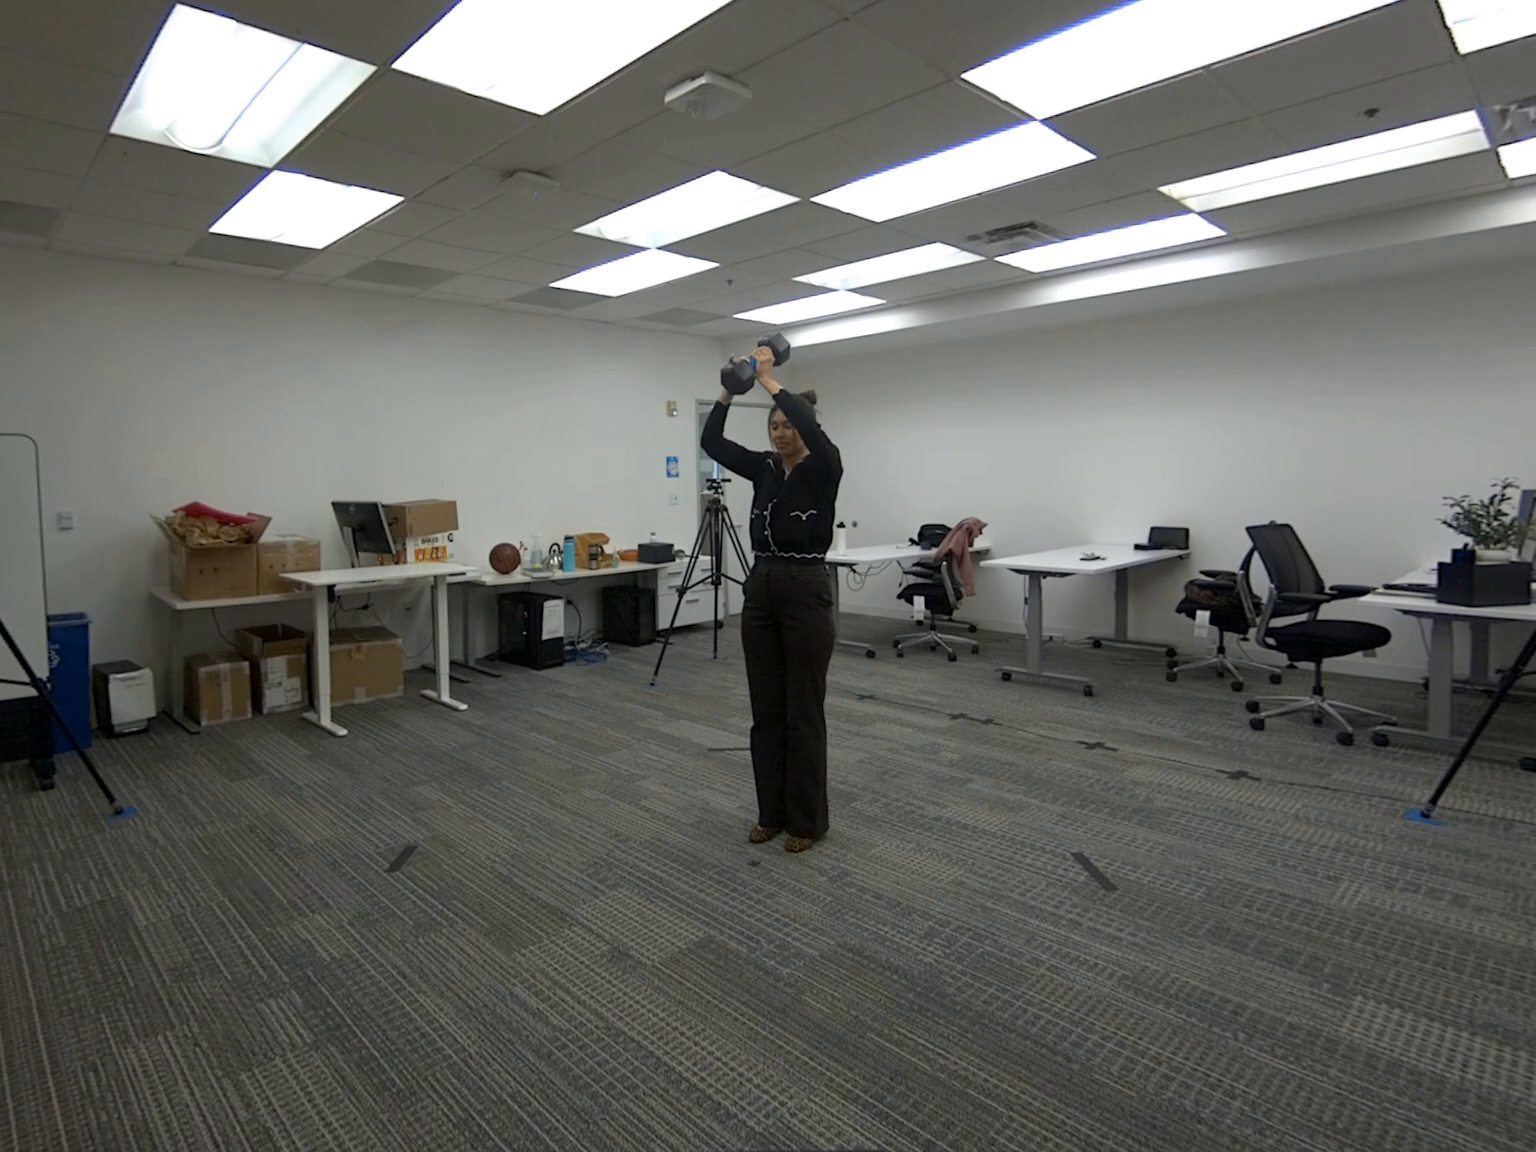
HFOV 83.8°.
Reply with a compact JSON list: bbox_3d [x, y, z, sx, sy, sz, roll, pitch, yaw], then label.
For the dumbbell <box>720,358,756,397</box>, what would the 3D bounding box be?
[{"bbox_3d":[-0.040,-0.767,3.071,0.293,0.122,0.109,-46,5,-32],"label":"dumbbell"}]
